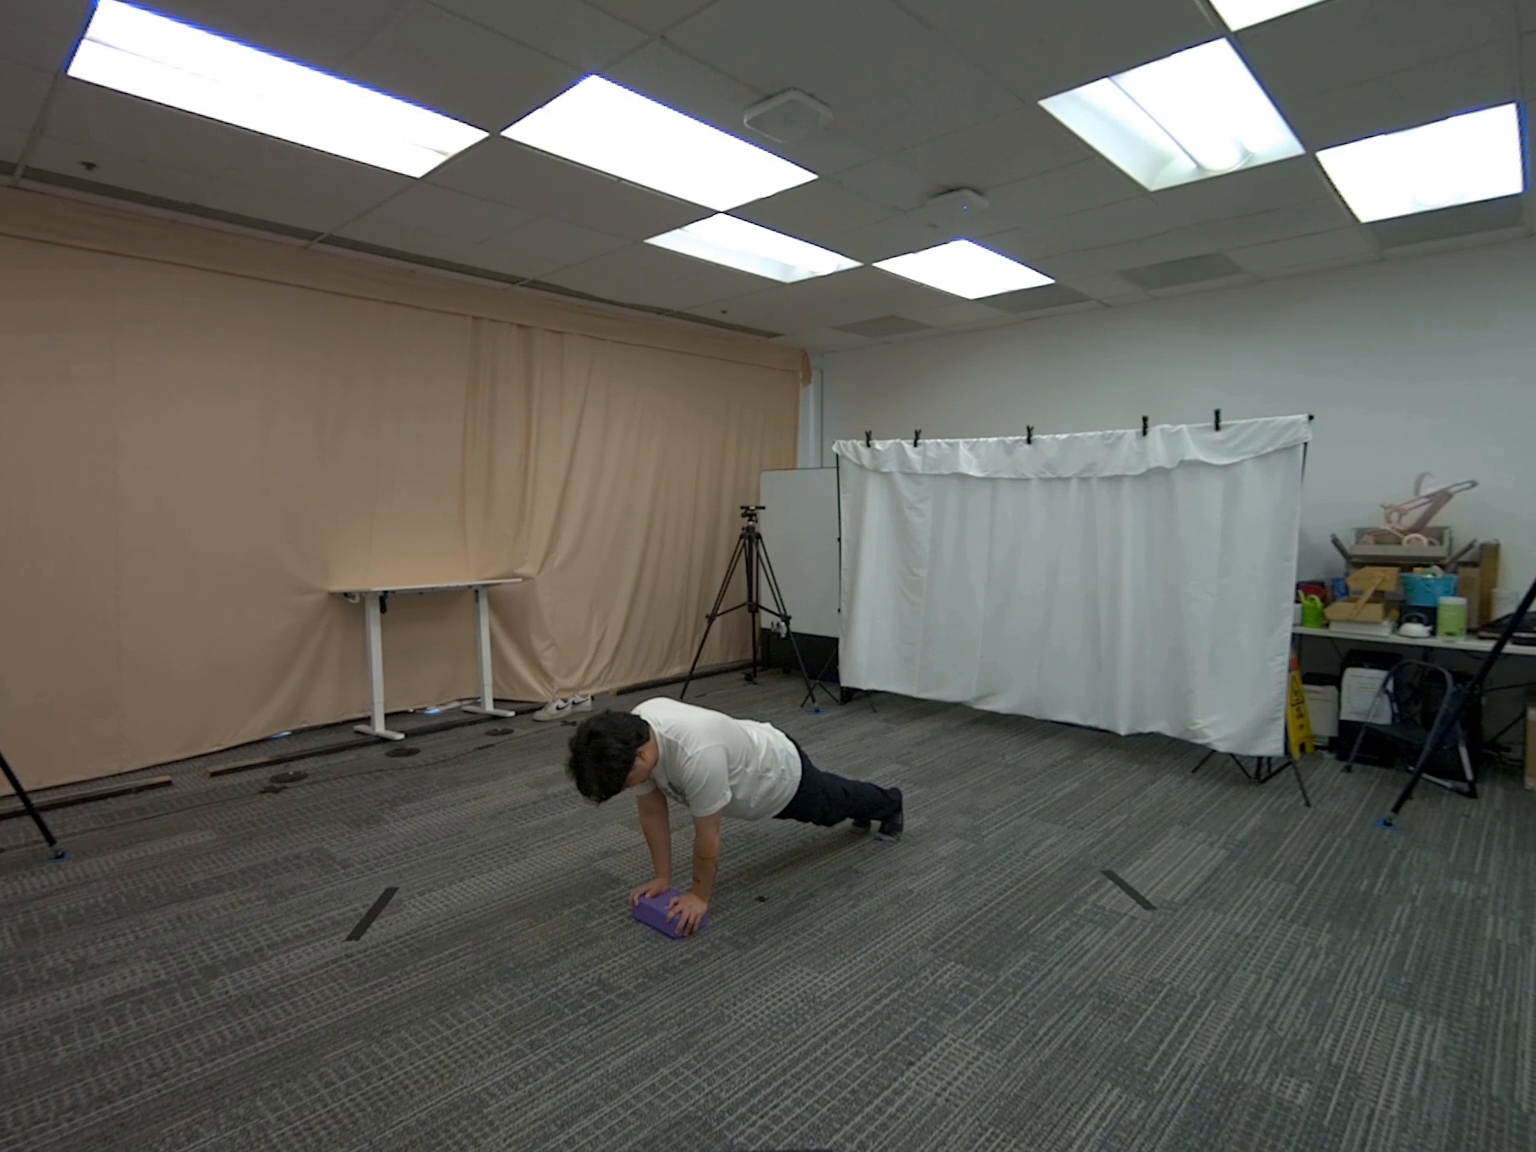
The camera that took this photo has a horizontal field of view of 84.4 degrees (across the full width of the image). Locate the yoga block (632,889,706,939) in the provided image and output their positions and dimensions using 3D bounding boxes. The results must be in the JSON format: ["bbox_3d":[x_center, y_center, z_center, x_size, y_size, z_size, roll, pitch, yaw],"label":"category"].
[{"bbox_3d":[-0.329,1.126,2.824,0.237,0.076,0.144,4,6,42],"label":"yoga block"}]
